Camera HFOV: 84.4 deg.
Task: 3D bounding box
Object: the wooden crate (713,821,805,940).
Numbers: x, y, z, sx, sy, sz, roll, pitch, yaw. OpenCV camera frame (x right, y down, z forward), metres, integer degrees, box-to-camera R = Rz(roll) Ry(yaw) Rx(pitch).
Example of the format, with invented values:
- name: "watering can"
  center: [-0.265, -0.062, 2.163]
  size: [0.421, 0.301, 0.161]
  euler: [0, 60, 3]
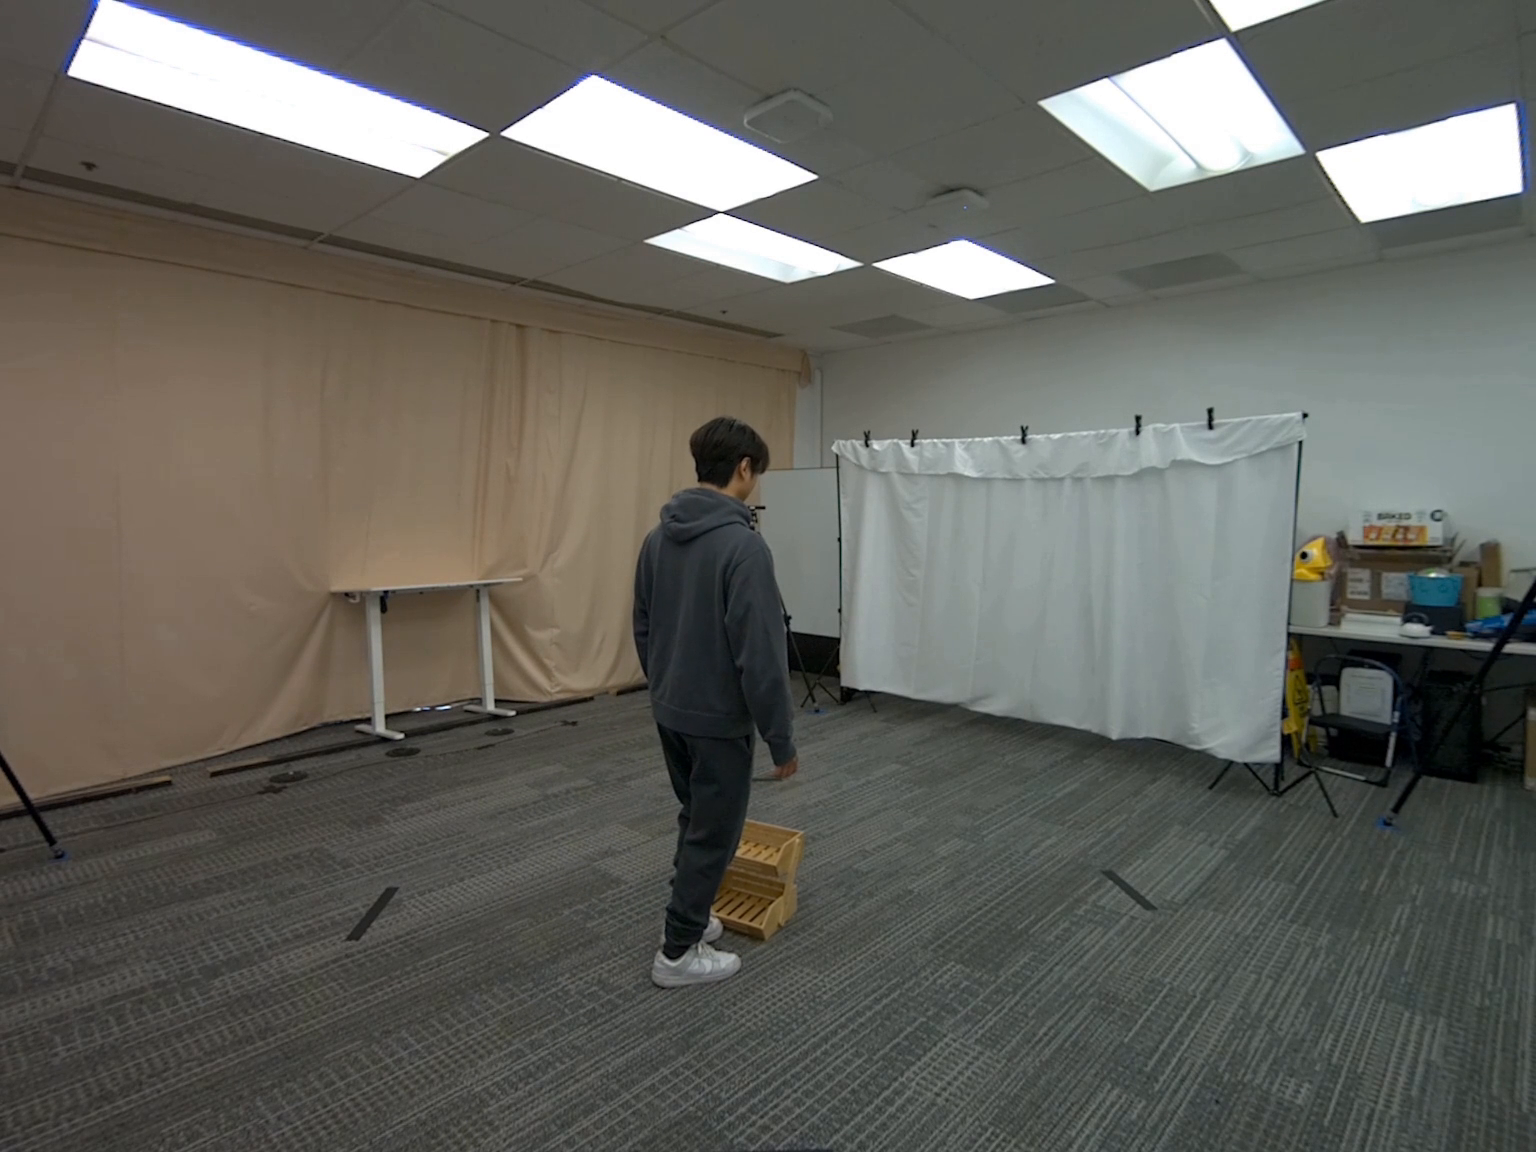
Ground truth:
- name: "wooden crate"
  center: [-0.074, 1.019, 2.877]
  size: [0.334, 0.273, 0.294]
  euler: [3, 4, 29]
